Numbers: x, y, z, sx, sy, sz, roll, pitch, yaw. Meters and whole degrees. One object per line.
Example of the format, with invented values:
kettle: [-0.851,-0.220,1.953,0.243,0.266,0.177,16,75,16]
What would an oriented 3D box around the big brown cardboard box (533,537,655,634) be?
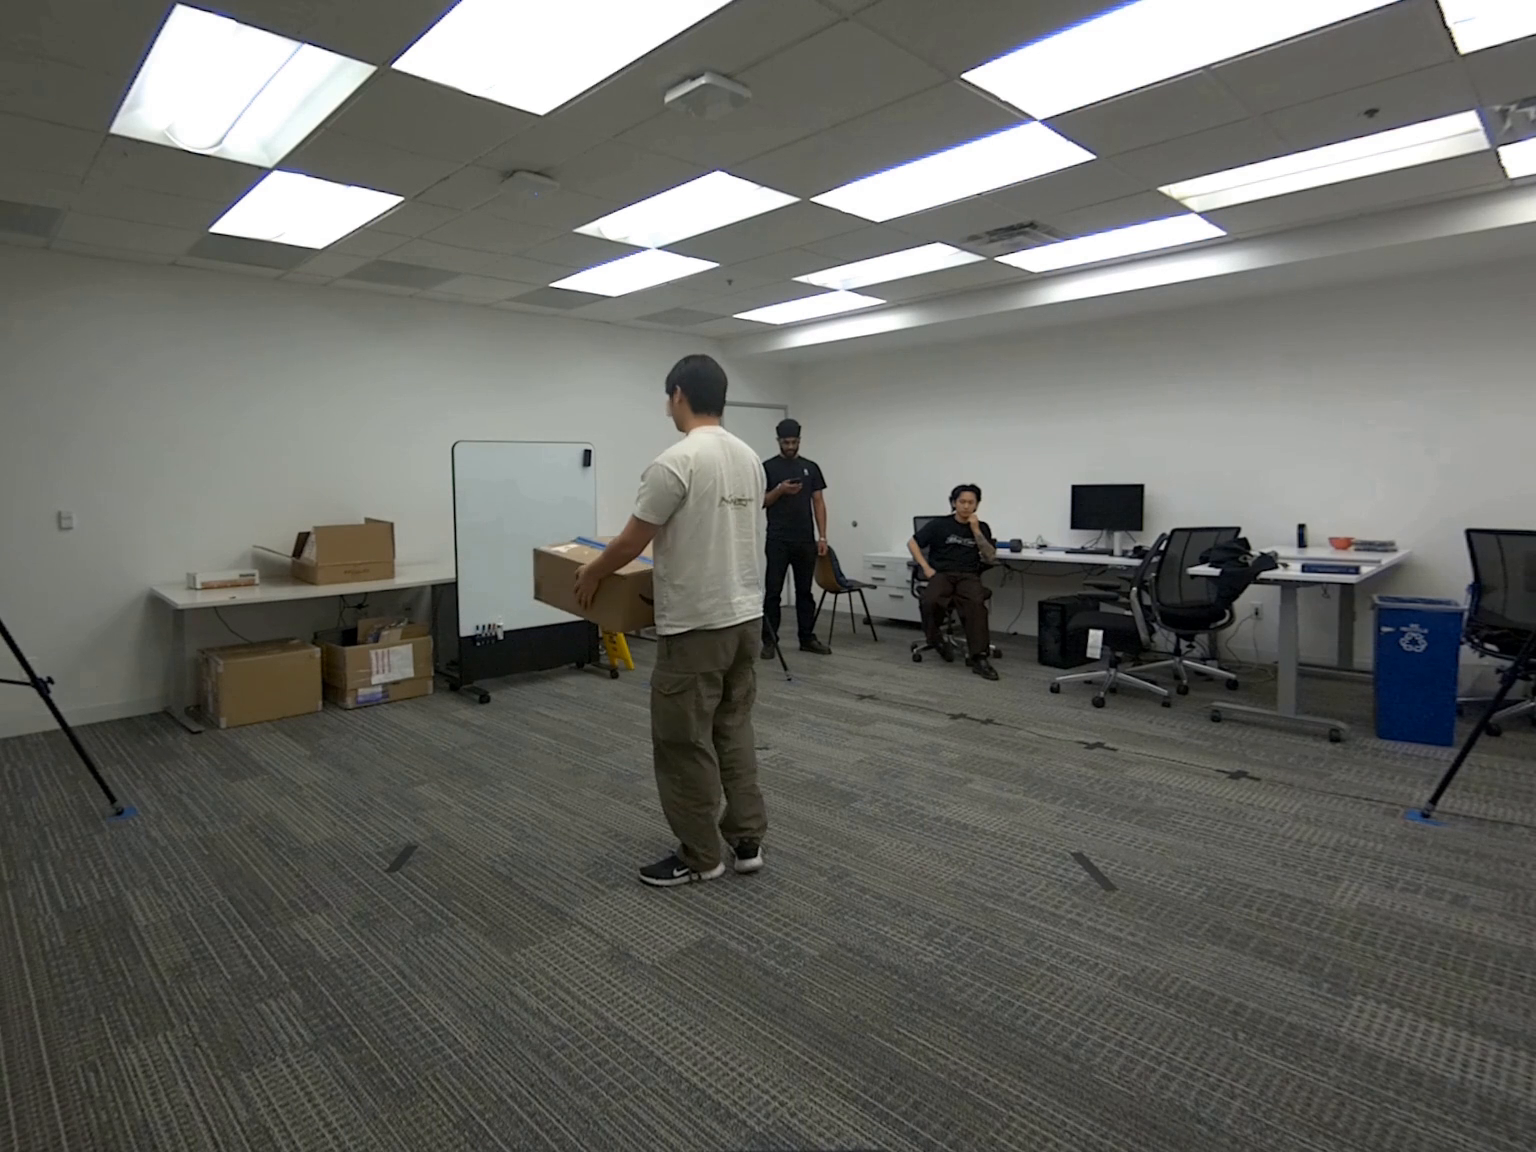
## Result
big brown cardboard box: [-0.577,0.016,3.332,0.610,0.230,0.408,16,19,41]
